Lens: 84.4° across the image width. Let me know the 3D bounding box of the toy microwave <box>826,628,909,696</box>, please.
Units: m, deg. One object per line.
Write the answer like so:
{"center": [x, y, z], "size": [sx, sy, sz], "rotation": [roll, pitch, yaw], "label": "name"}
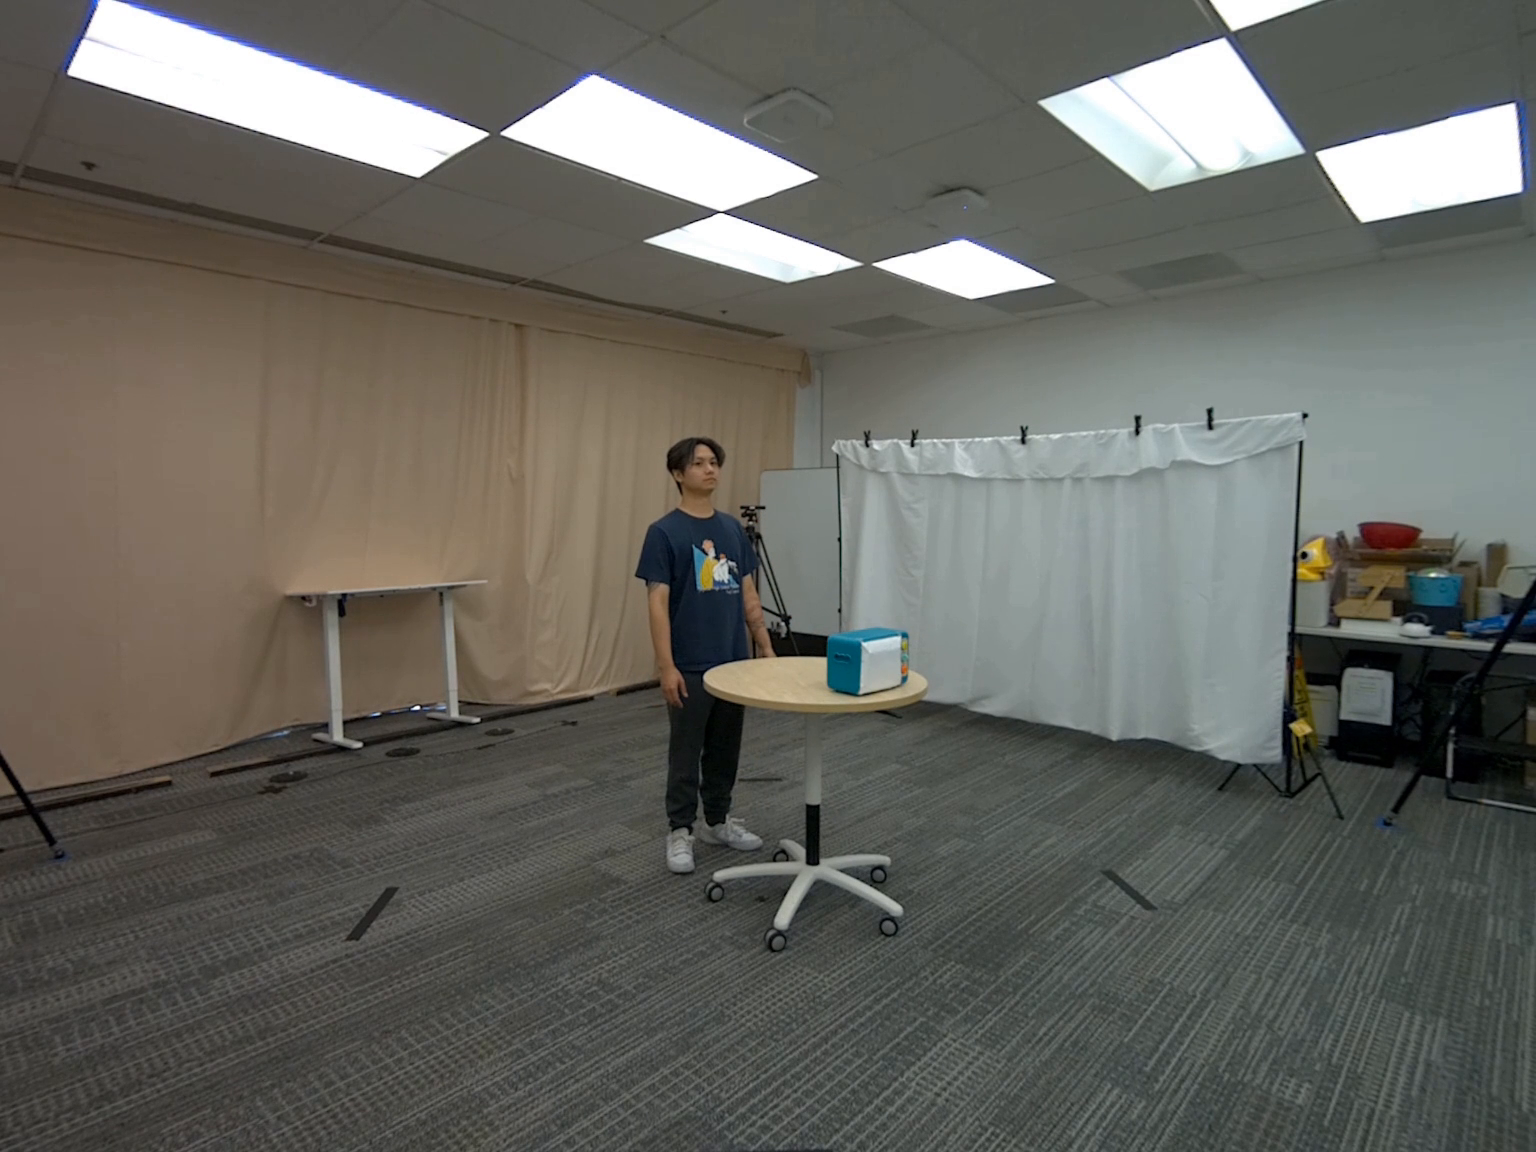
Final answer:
{"center": [0.340, 0.277, 2.734], "size": [0.277, 0.184, 0.157], "rotation": [-4, 6, -44], "label": "toy microwave"}
